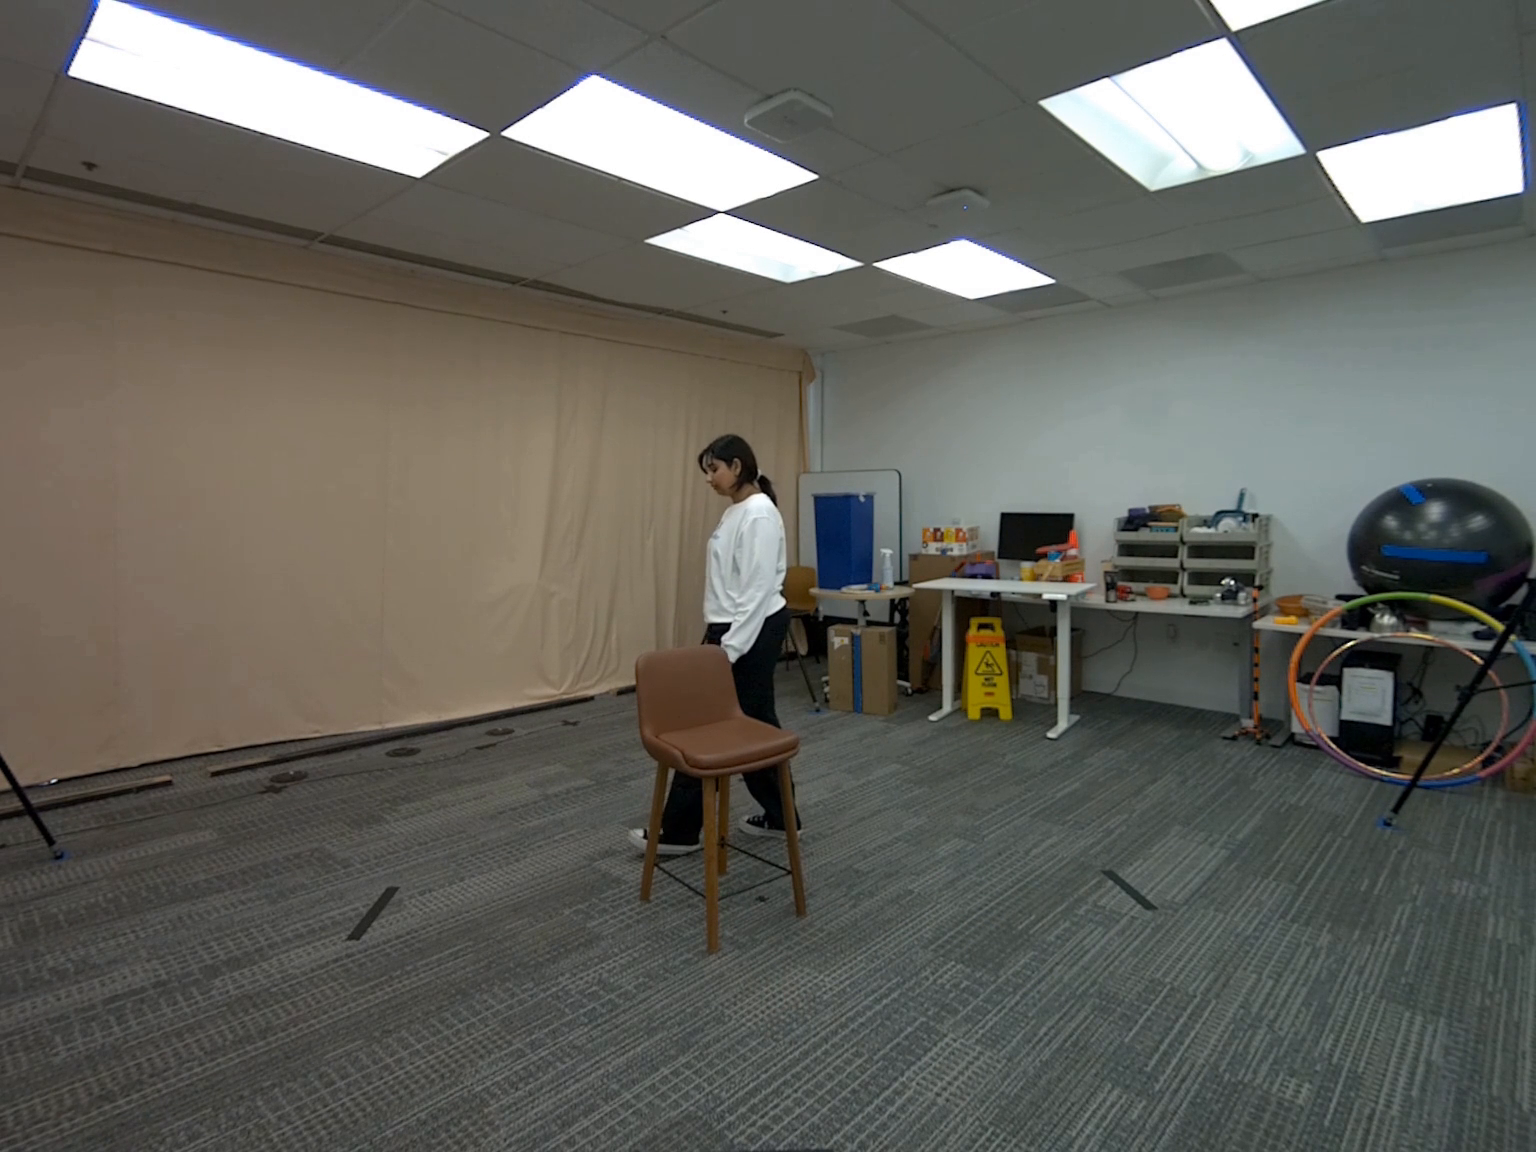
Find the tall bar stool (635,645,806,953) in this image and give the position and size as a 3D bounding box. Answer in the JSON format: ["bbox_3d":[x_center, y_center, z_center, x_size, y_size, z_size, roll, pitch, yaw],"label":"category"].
[{"bbox_3d":[-0.172,0.713,2.897,0.443,0.889,0.482,-3,2,-40],"label":"tall bar stool"}]
